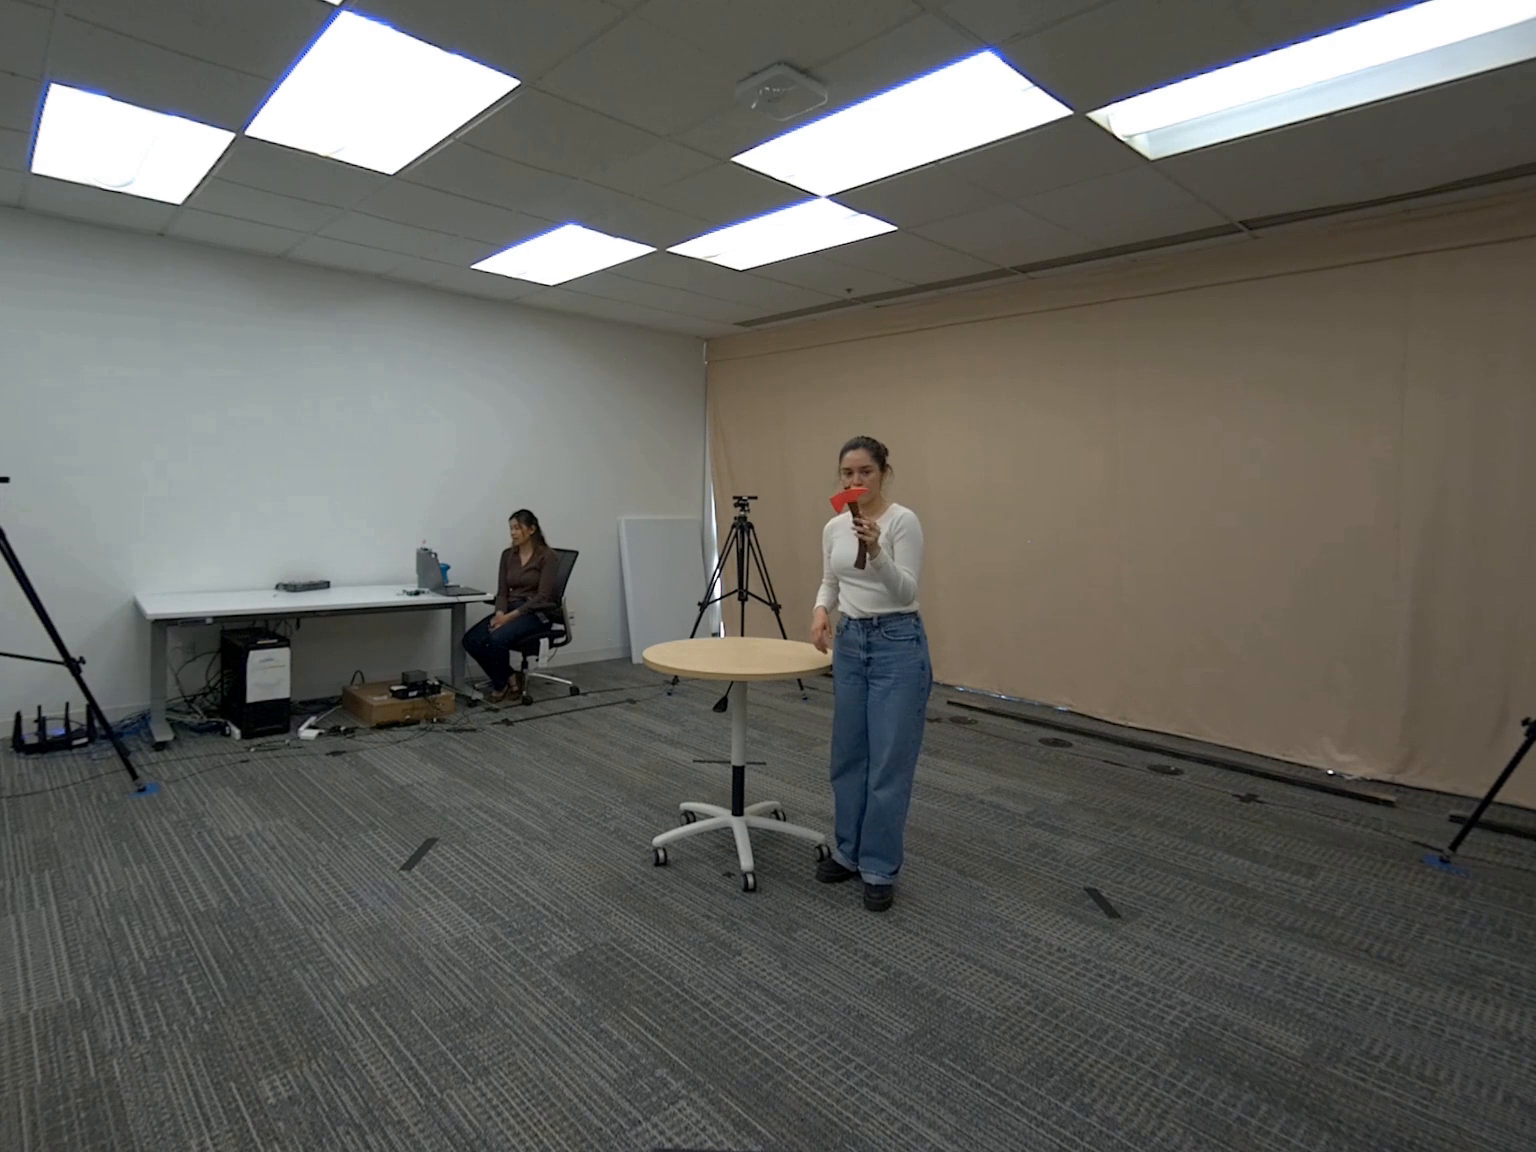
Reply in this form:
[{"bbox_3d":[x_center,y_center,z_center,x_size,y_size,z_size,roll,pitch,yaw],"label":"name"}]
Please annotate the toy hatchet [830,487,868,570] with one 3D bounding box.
[{"bbox_3d":[0.258,-0.157,2.702,0.133,0.268,0.029,4,11,17],"label":"toy hatchet"}]
